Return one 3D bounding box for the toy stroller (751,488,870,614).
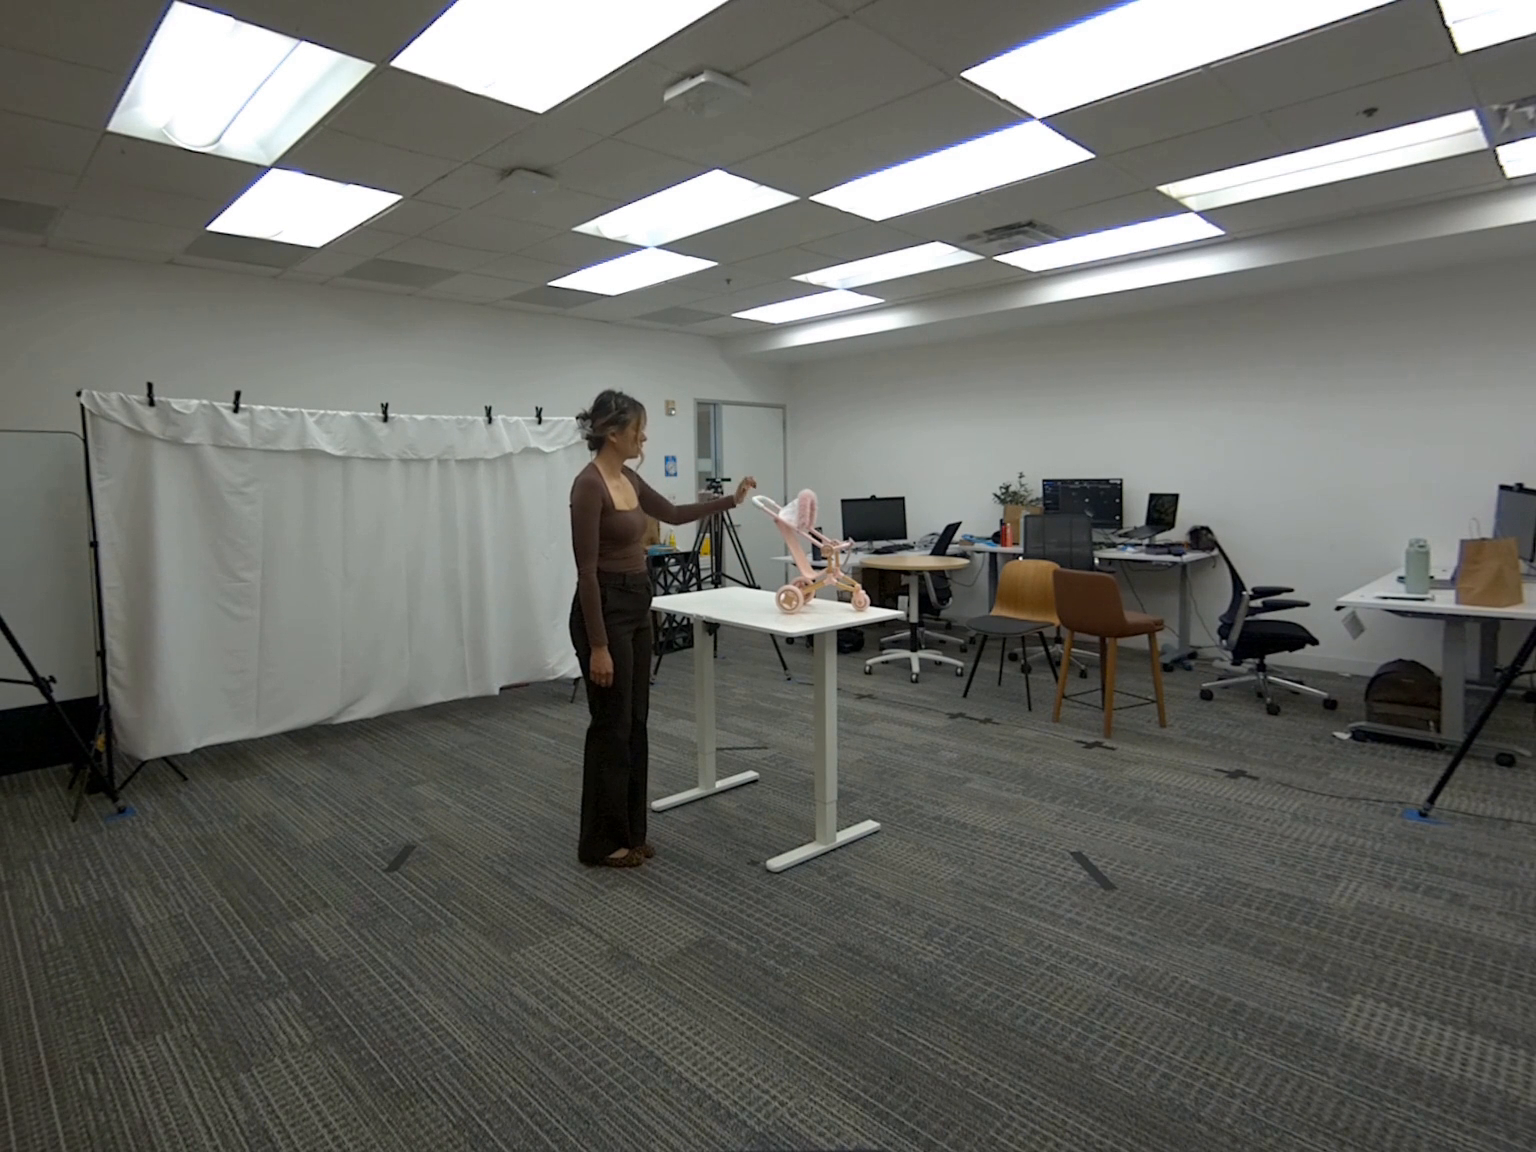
[{"bbox_3d":[0.180,-0.089,3.315,0.346,0.535,0.277,-14,0,21],"label":"toy stroller"}]
